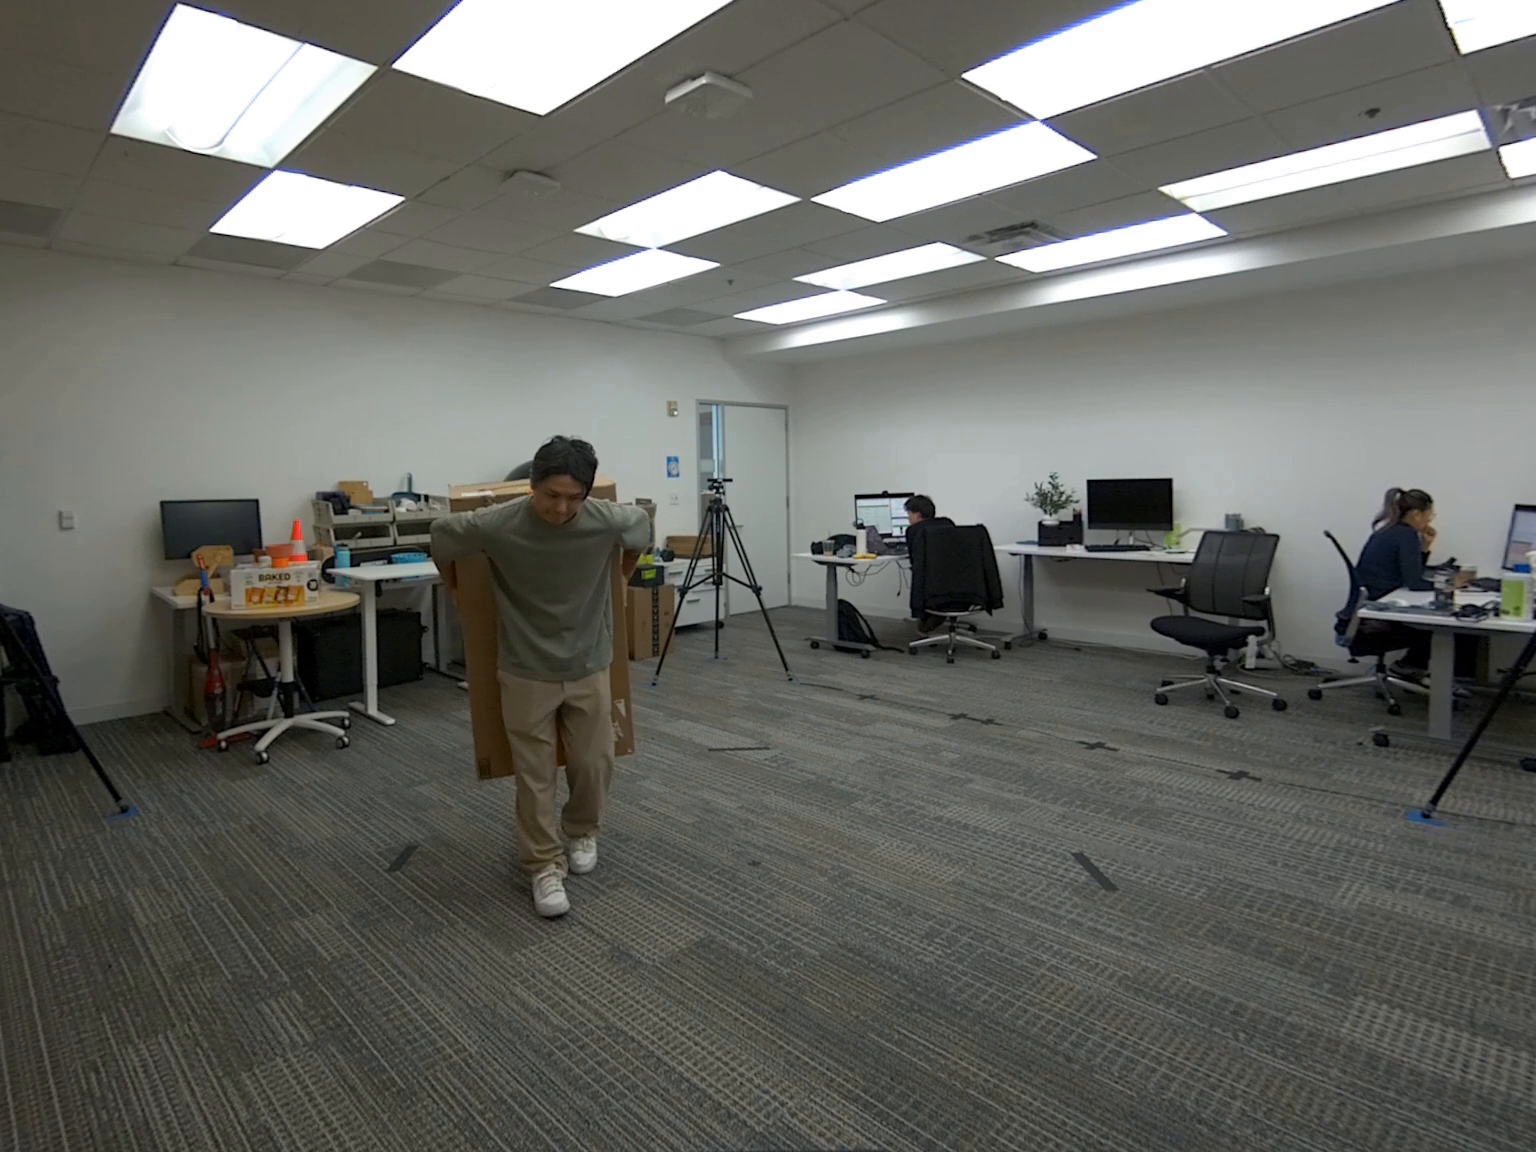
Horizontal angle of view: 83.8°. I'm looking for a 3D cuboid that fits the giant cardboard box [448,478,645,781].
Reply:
[{"bbox_3d":[-0.860,0.162,3.240,0.569,1.016,0.437,-6,11,-18],"label":"giant cardboard box"}]
